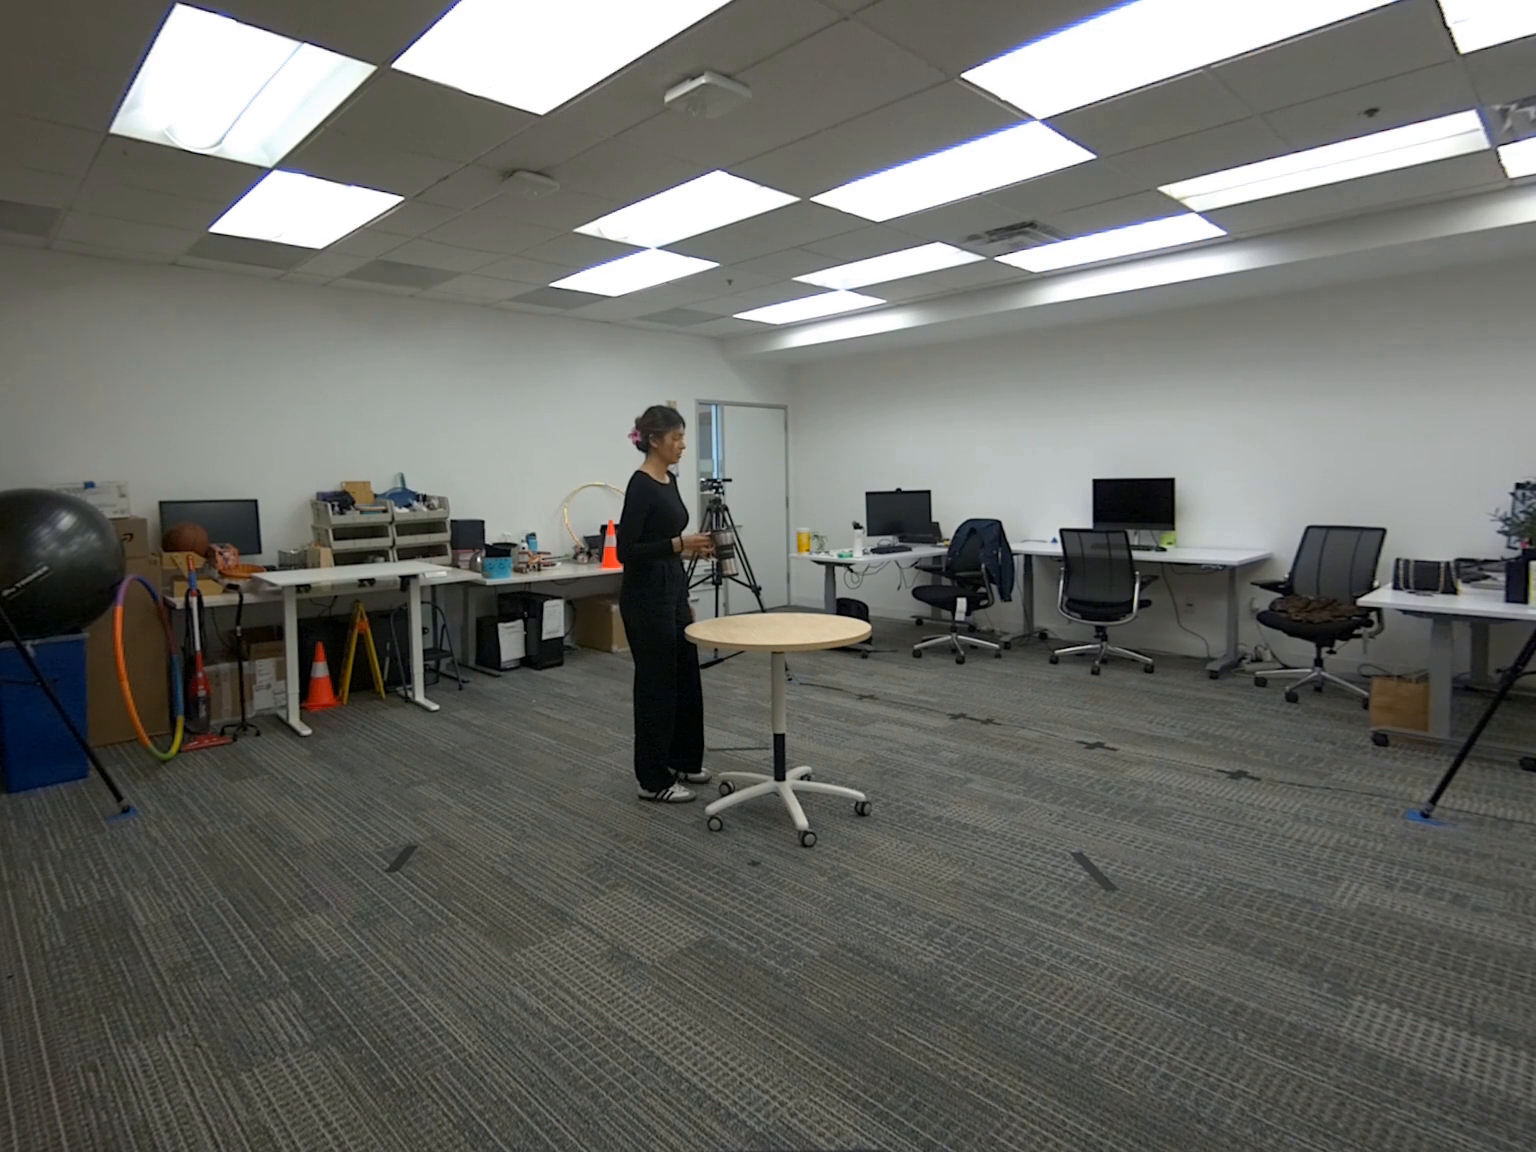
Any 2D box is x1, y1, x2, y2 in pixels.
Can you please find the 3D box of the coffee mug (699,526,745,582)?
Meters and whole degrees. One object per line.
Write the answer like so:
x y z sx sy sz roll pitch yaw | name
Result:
-0.188 -0.092 3.463 0.125 0.202 0.086 -5 8 39 | coffee mug
